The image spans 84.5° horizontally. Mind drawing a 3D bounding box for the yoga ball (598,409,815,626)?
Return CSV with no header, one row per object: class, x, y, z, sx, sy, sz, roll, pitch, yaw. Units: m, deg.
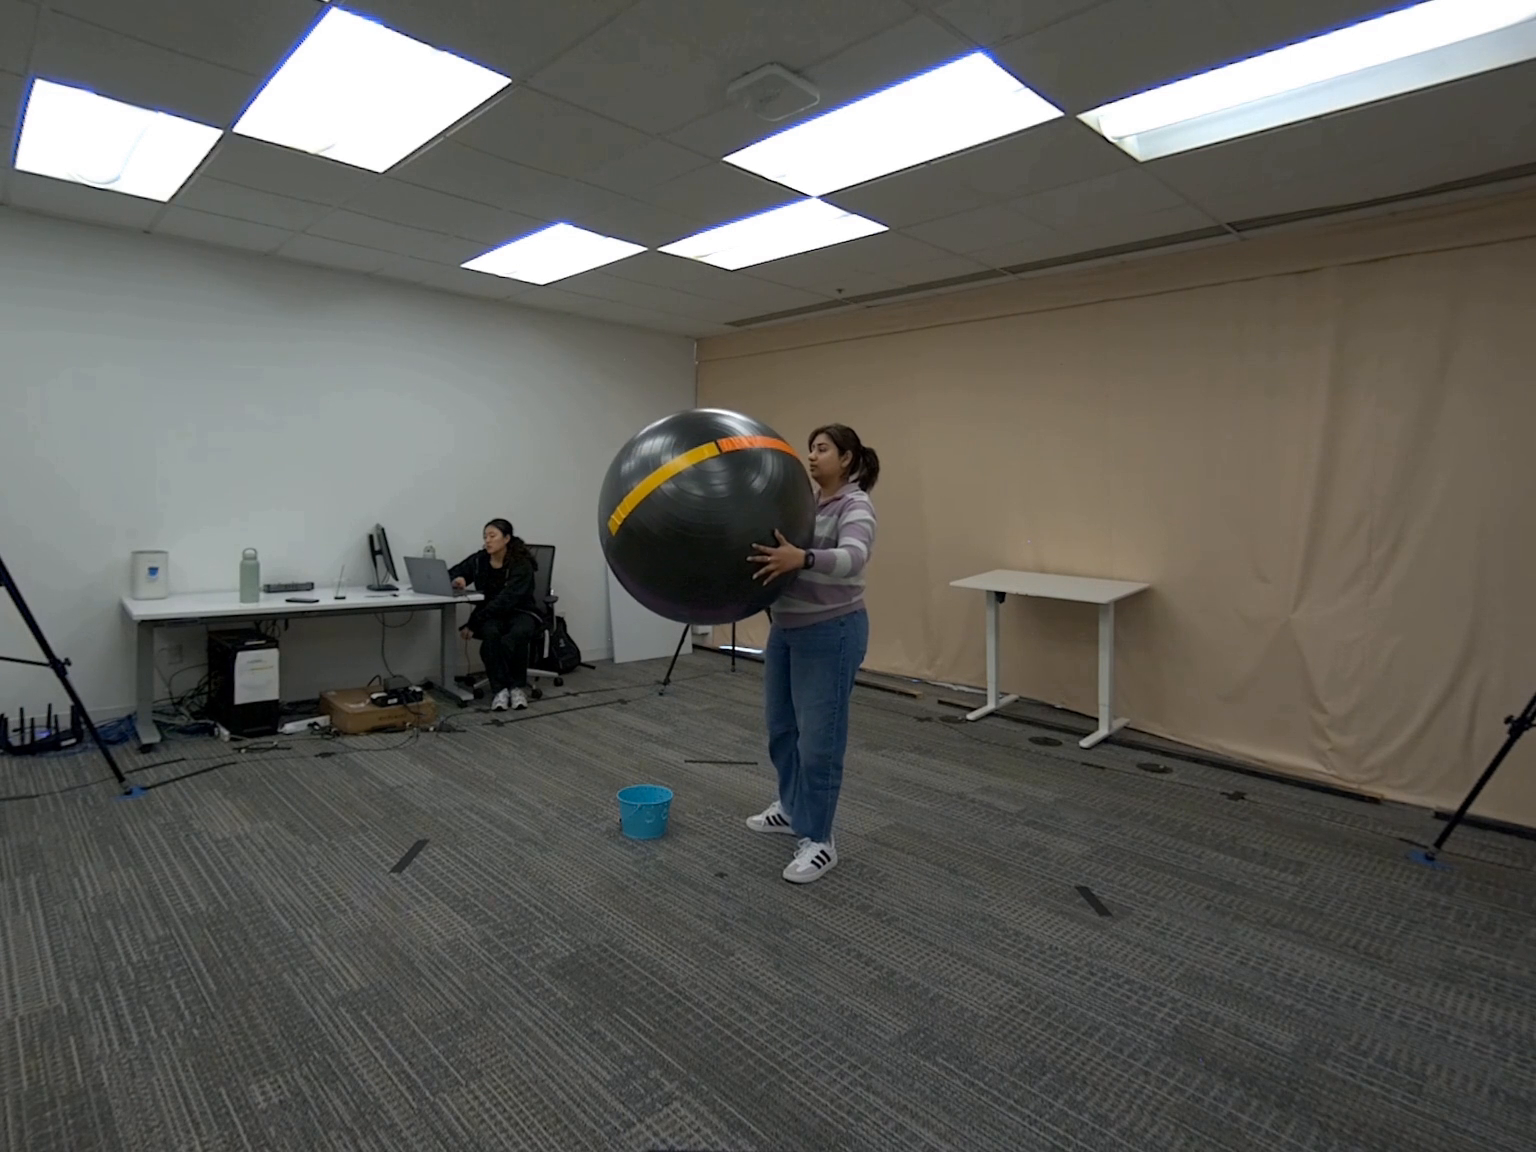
yoga ball,-0.218,-0.199,2.941,0.757,0.756,0.761,1,4,-1
